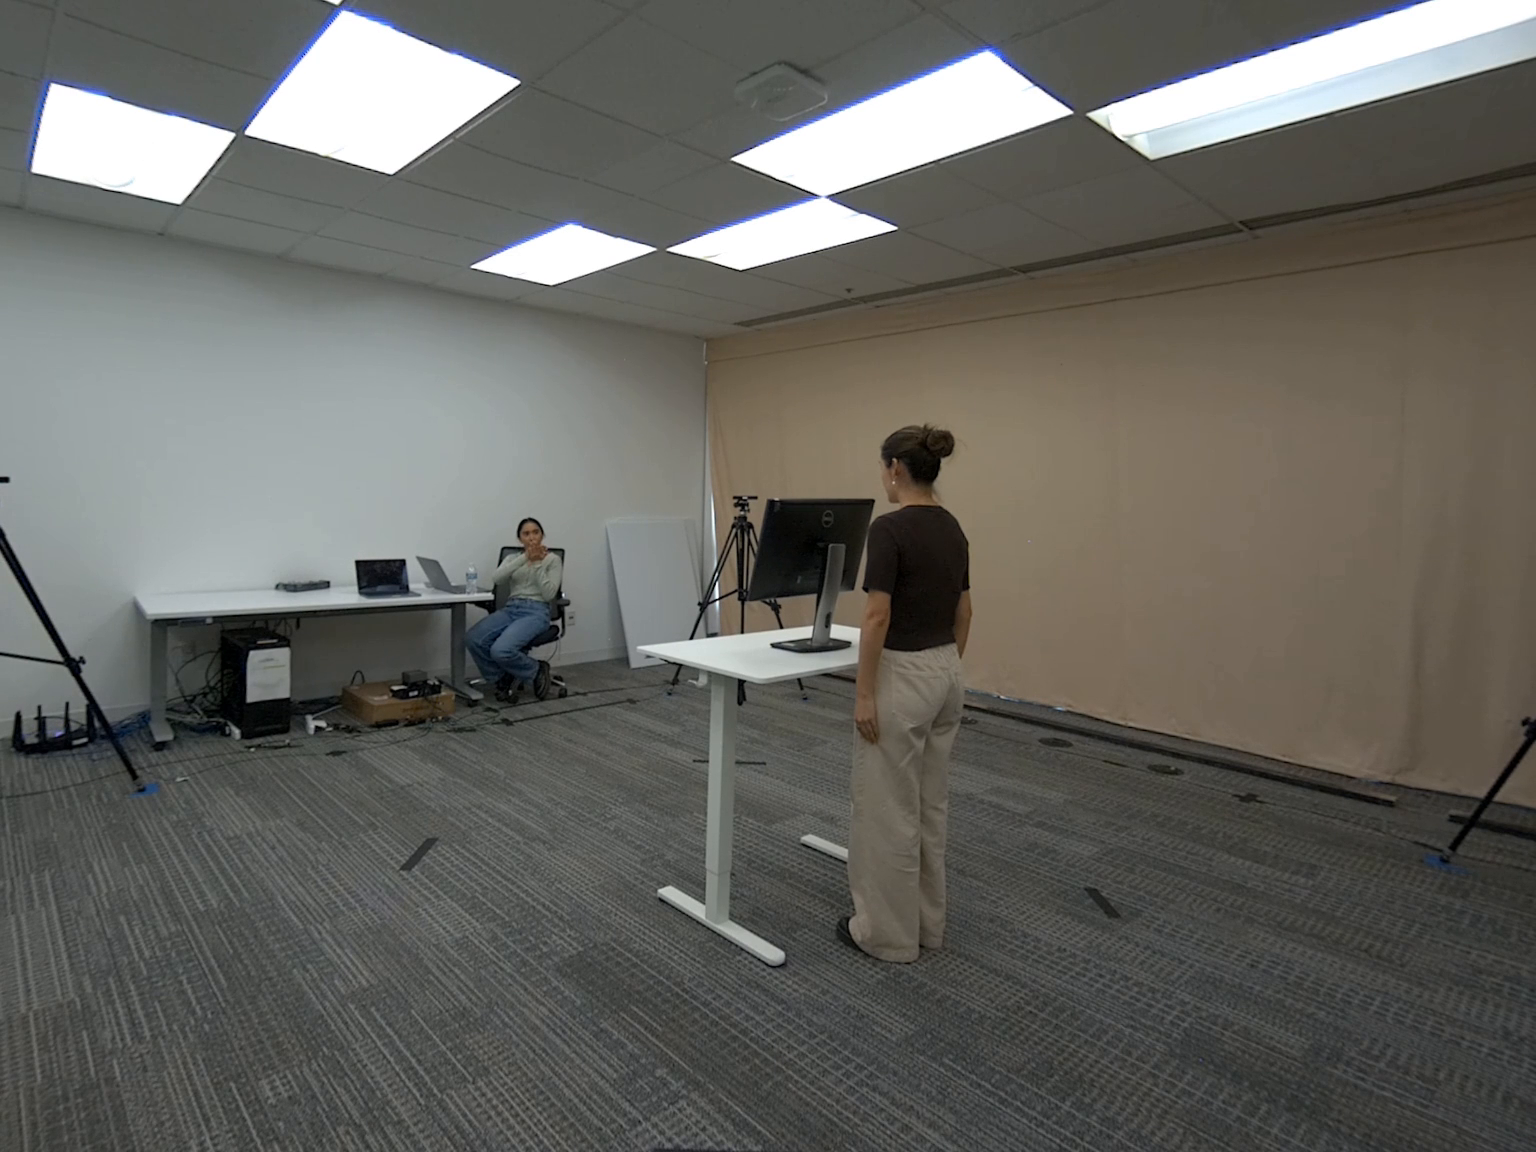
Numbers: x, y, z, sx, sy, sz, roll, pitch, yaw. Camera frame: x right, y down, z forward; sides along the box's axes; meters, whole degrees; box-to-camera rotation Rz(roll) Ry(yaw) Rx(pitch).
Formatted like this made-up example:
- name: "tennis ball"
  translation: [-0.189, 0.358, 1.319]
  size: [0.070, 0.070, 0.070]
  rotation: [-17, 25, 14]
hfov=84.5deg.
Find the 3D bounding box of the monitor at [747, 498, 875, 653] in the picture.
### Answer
- name: "monitor"
  translation: [0.165, -0.005, 2.891]
  size: [0.527, 0.521, 0.192]
  rotation: [-3, 7, -45]
